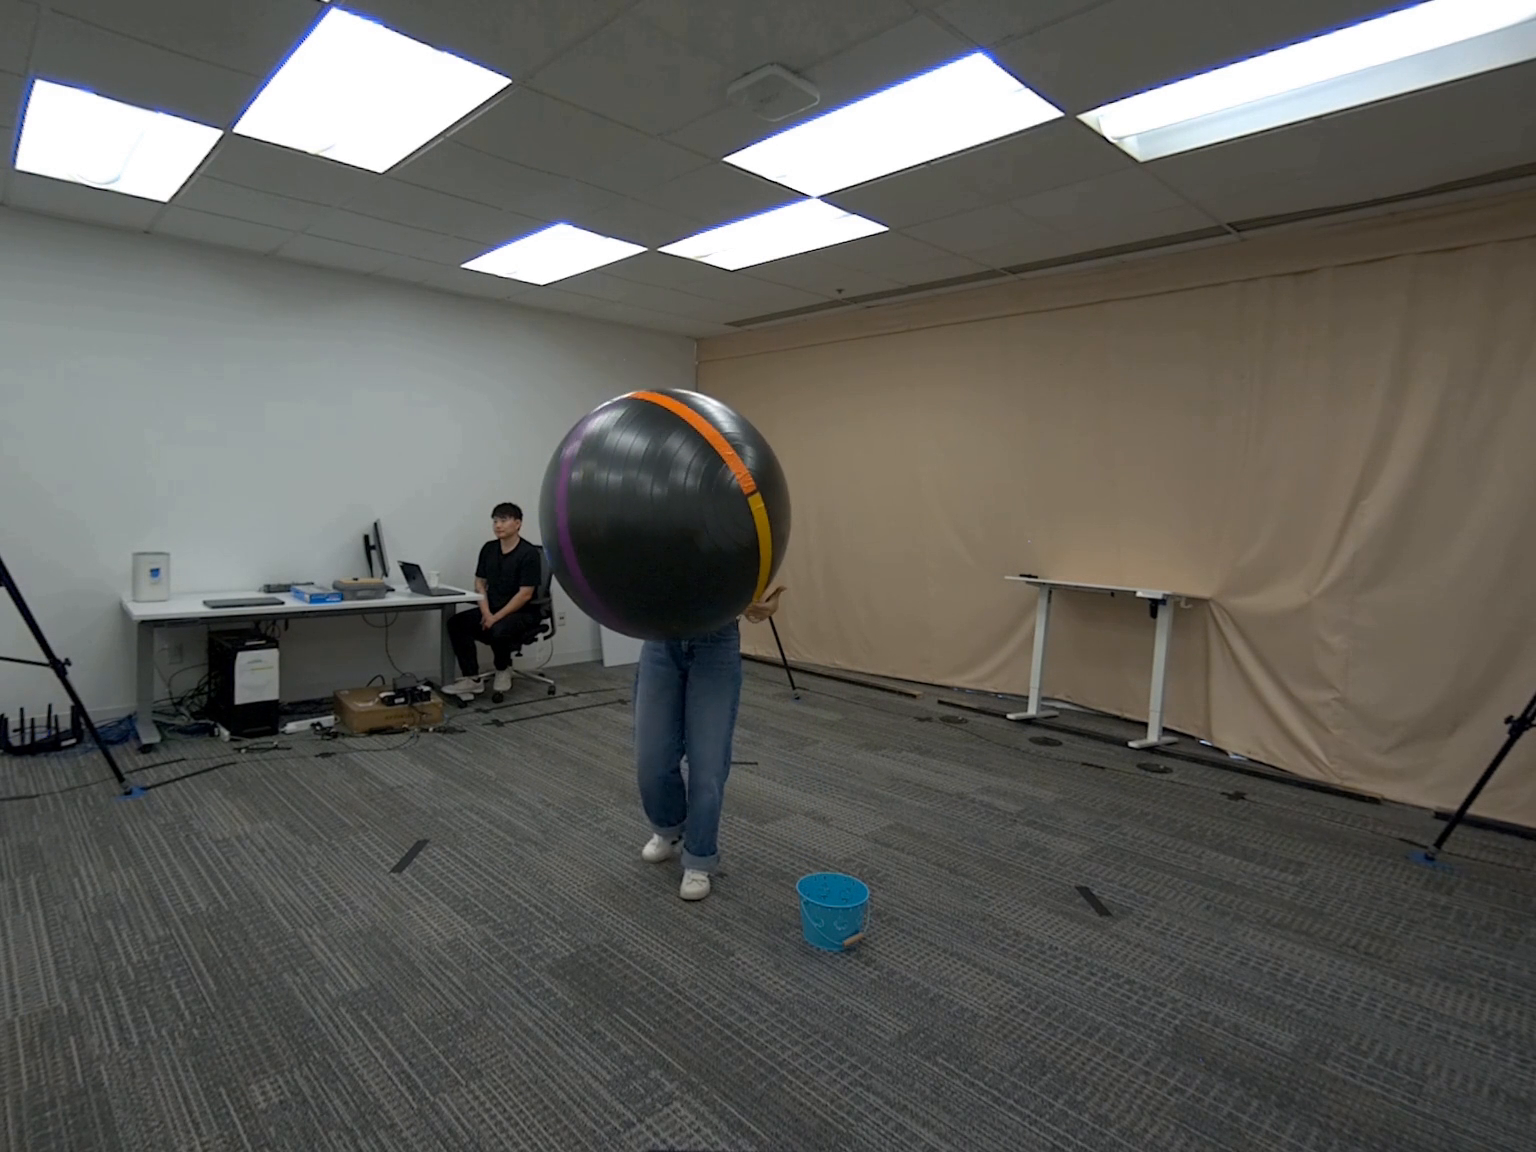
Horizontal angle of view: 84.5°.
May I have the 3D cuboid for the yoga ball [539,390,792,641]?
[{"bbox_3d":[-0.317,-0.174,2.542,0.757,0.756,0.761,1,4,-1],"label":"yoga ball"}]
